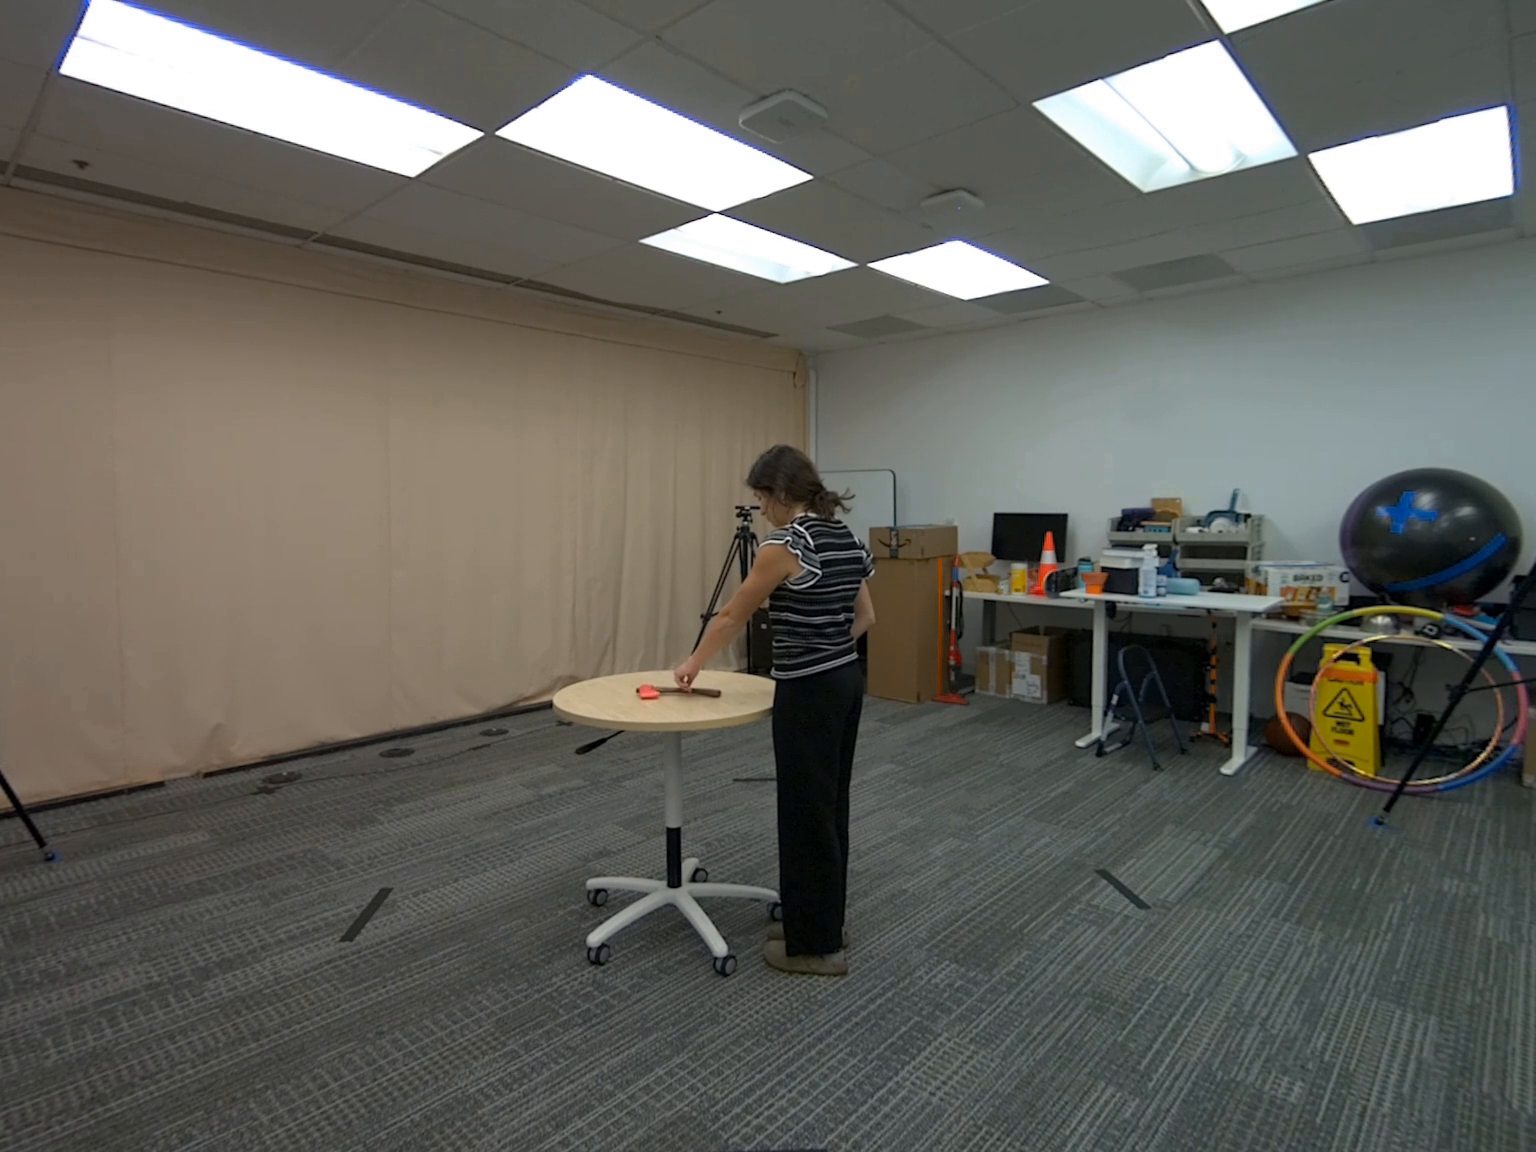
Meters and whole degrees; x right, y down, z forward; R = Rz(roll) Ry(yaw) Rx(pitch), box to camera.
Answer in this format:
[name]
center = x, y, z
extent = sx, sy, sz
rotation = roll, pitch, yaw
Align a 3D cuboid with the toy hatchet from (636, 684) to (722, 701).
[toy hatchet]
center = -0.291, 0.376, 2.685
extent = 0.276, 0.029, 0.128
rotation = 2, 4, 20
